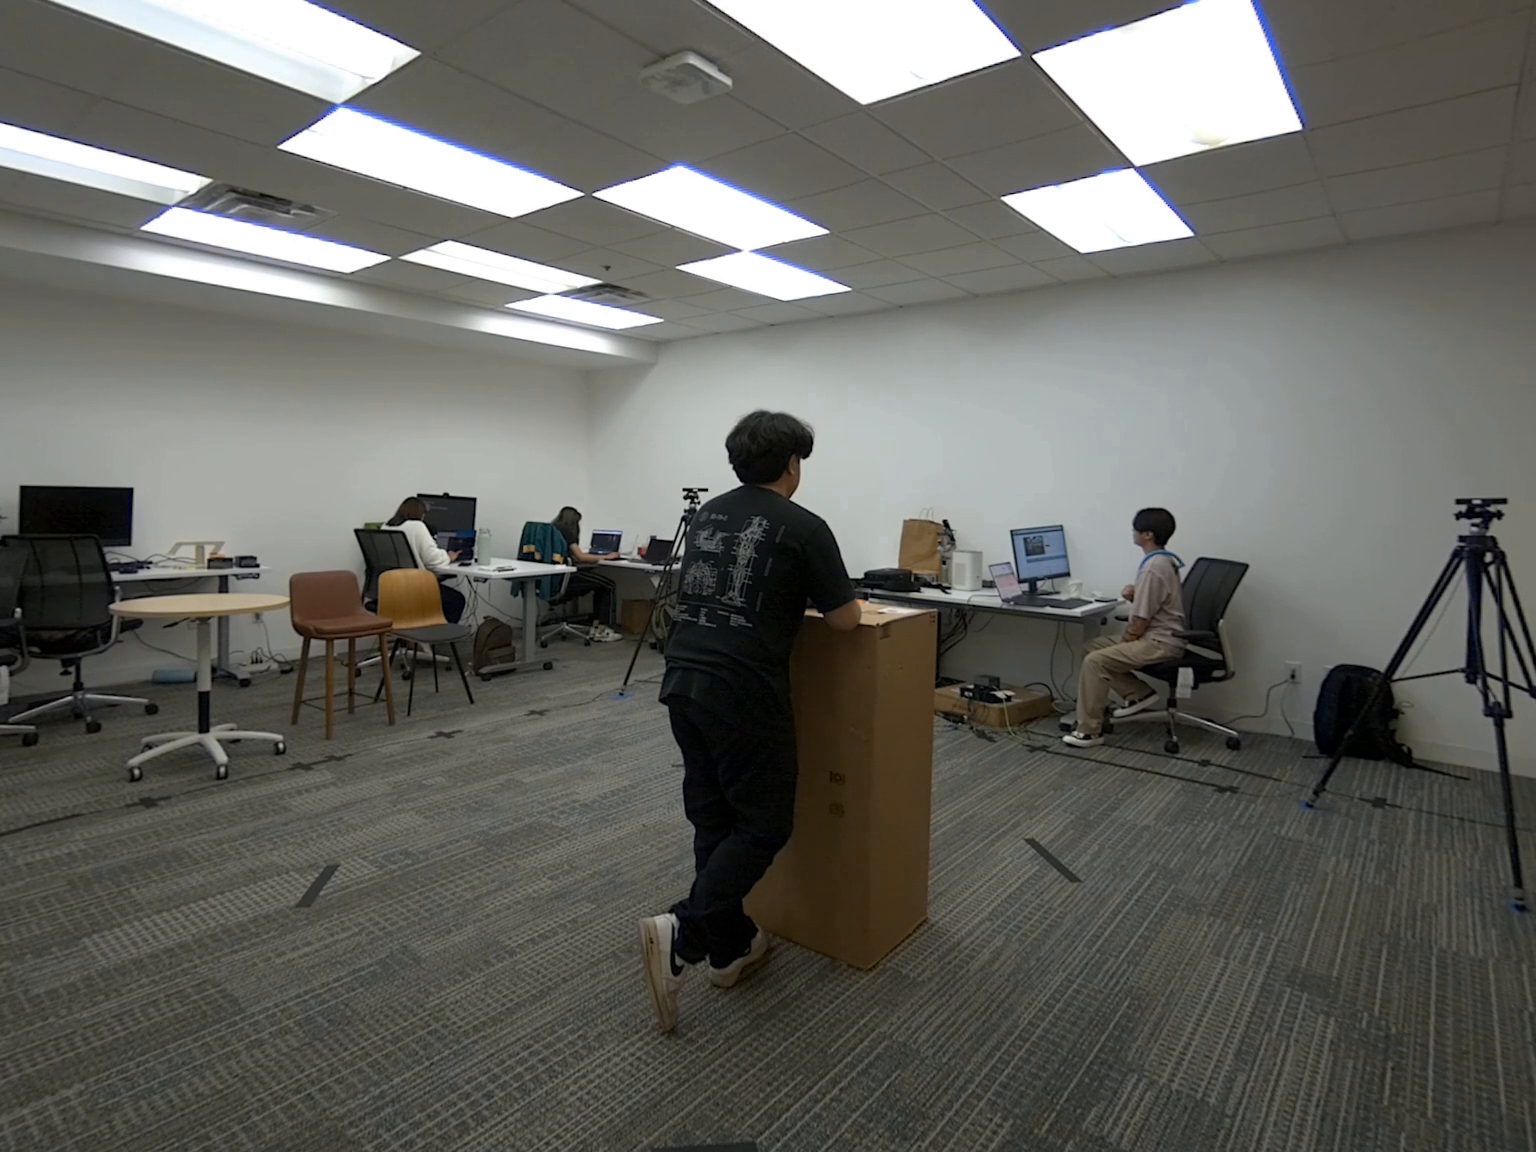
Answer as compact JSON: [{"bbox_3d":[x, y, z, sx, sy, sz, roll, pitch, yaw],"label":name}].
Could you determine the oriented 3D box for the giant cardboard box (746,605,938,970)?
[{"bbox_3d":[0.180,0.600,2.781,0.603,1.024,0.433,4,4,37],"label":"giant cardboard box"}]
